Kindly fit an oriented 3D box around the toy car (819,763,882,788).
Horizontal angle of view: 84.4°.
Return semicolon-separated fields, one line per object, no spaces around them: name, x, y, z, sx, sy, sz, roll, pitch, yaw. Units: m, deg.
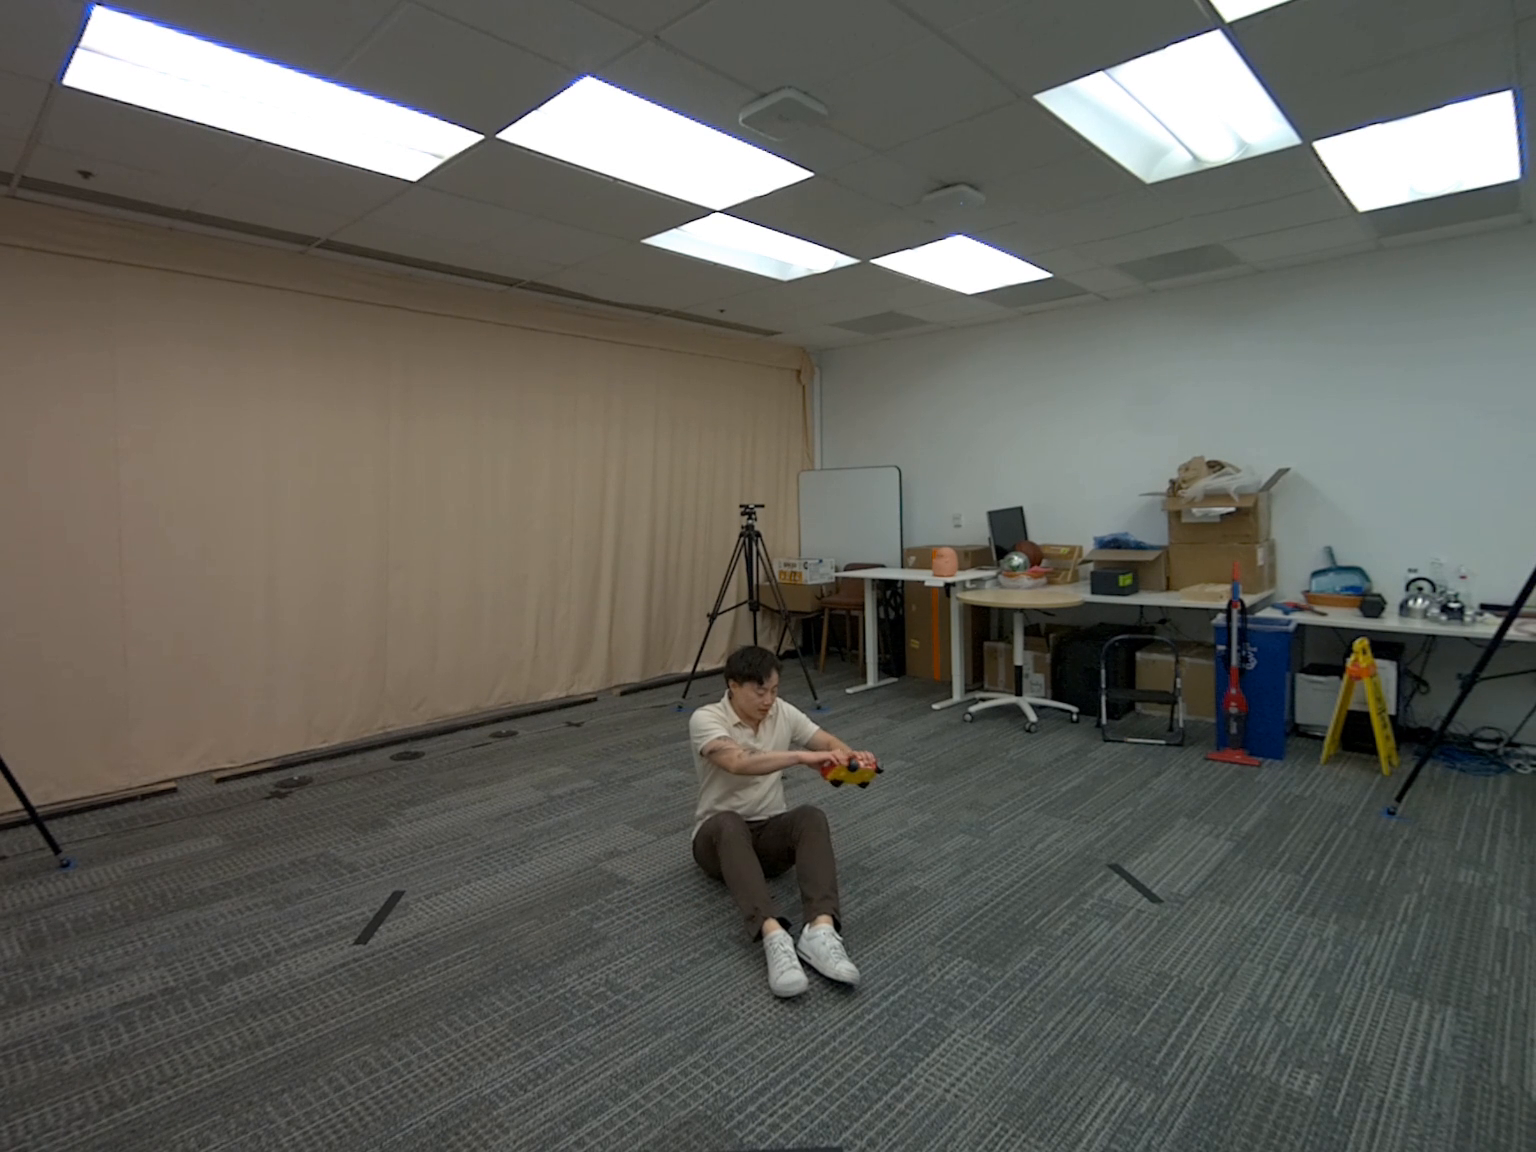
toy car;0.272;0.683;2.912;0.247;0.131;0.085;22;32;-30
